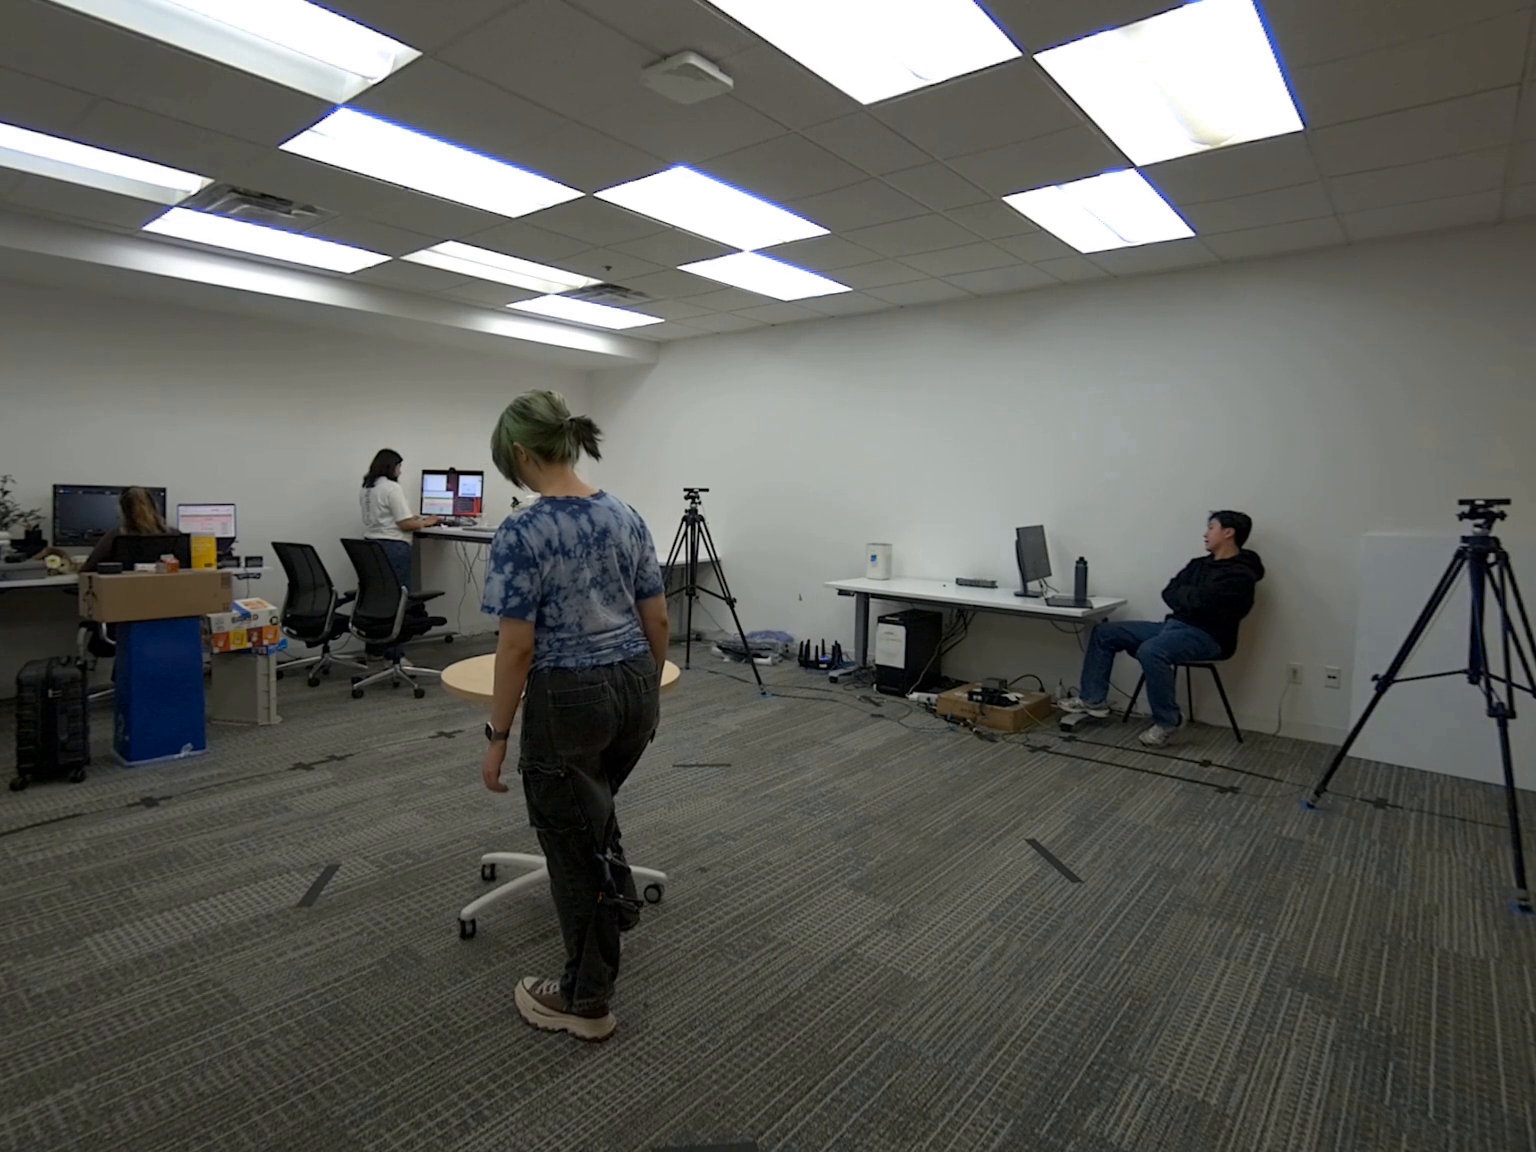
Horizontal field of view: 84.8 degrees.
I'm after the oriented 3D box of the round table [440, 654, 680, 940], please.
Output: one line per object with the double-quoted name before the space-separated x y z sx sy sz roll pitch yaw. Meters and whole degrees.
"round table" -0.691 0.700 2.809 0.763 0.791 0.768 1 4 -2
